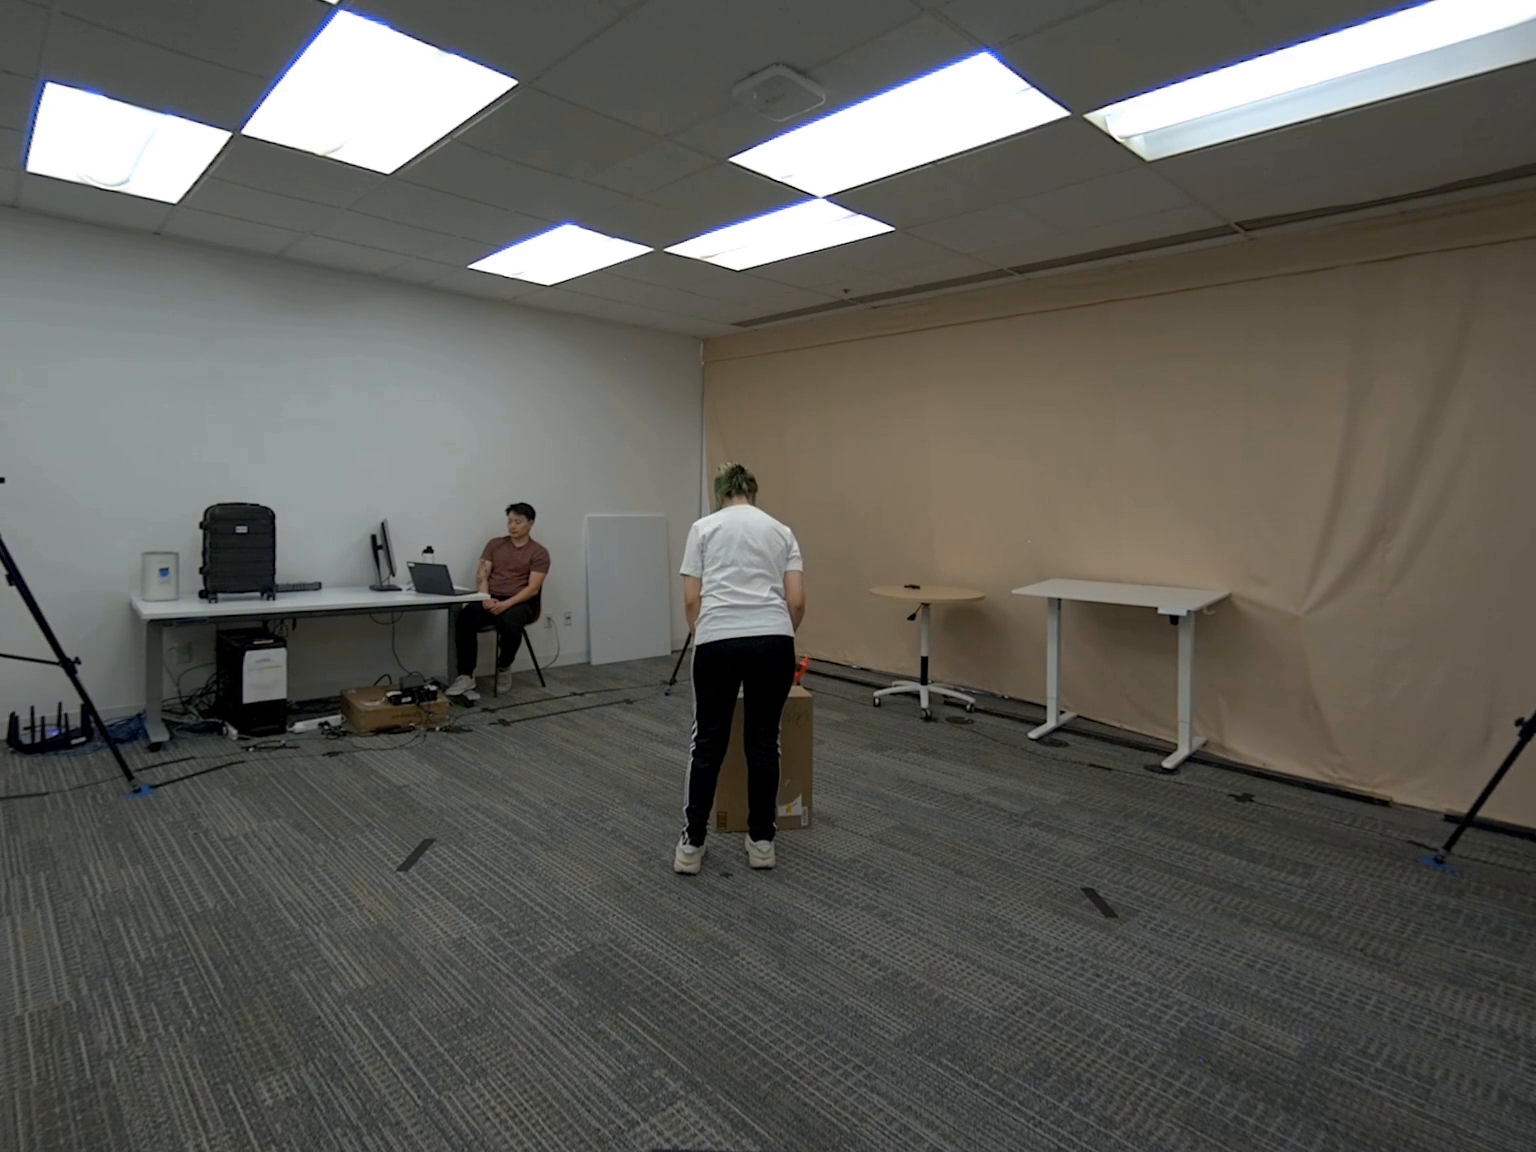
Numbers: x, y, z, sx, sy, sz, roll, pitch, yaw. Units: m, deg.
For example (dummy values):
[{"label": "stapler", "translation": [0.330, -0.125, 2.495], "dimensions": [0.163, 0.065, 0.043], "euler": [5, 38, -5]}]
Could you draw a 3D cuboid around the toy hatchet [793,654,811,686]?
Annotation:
[{"label": "toy hatchet", "translation": [0.096, 0.389, 3.449], "dimensions": [0.030, 0.130, 0.266], "euler": [21, 8, 19]}]
